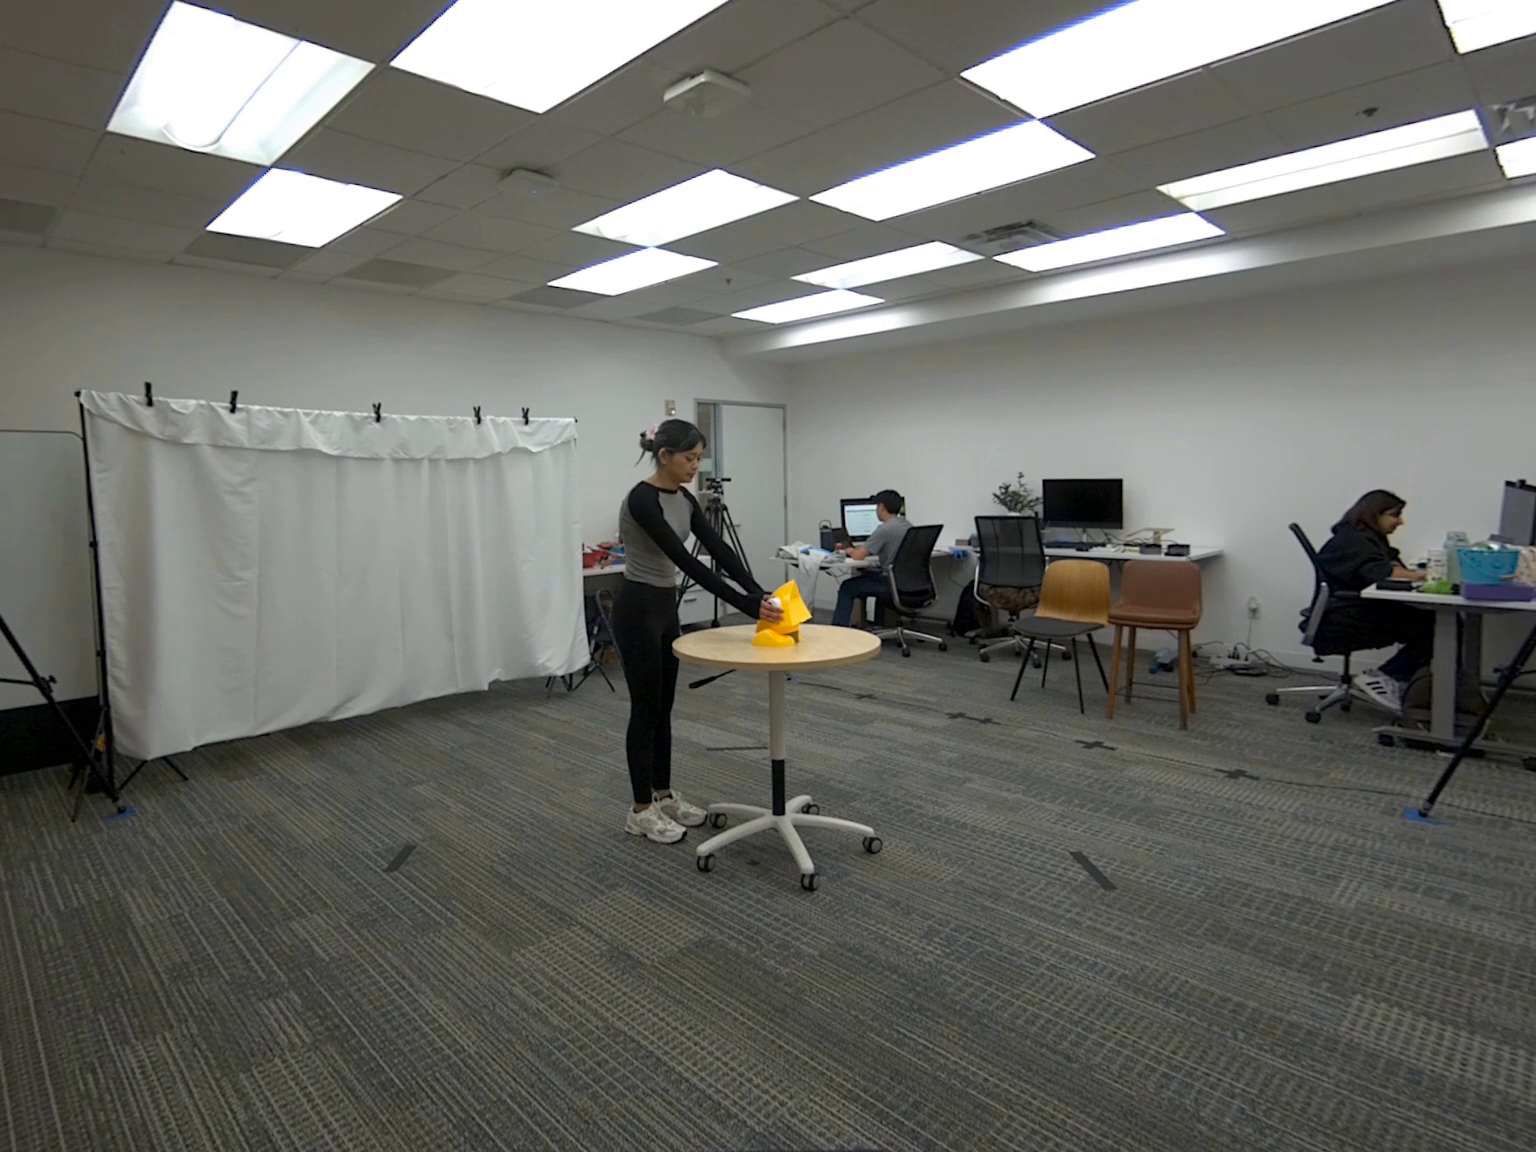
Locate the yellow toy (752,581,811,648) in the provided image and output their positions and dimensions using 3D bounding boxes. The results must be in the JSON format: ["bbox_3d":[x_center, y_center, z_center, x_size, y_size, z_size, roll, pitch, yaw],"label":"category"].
[{"bbox_3d":[0.043,0.128,3.139,0.197,0.230,0.201,0,4,23],"label":"yellow toy"}]
